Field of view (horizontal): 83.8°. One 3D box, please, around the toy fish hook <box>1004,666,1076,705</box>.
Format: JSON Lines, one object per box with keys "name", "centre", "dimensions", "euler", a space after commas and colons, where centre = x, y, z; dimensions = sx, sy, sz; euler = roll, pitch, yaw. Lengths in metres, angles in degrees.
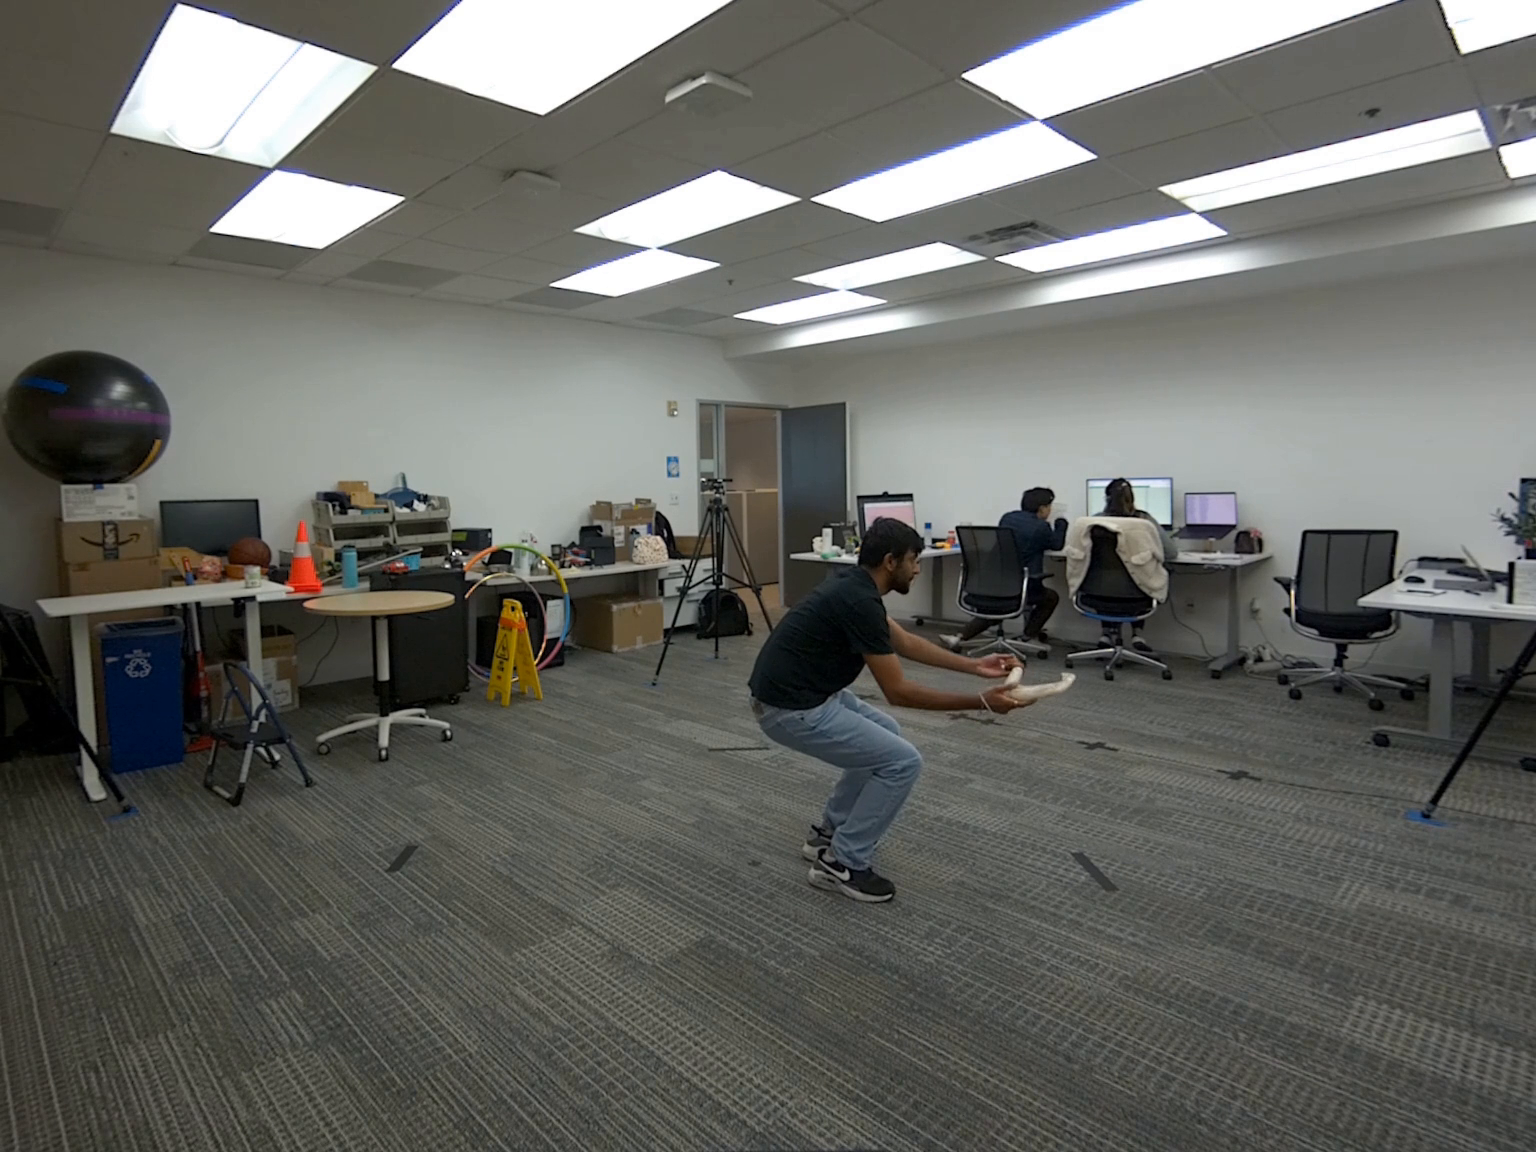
{"name": "toy fish hook", "centre": [0.887, 0.329, 2.898], "dimensions": [0.227, 0.048, 0.503], "euler": [-8, 8, 14]}
